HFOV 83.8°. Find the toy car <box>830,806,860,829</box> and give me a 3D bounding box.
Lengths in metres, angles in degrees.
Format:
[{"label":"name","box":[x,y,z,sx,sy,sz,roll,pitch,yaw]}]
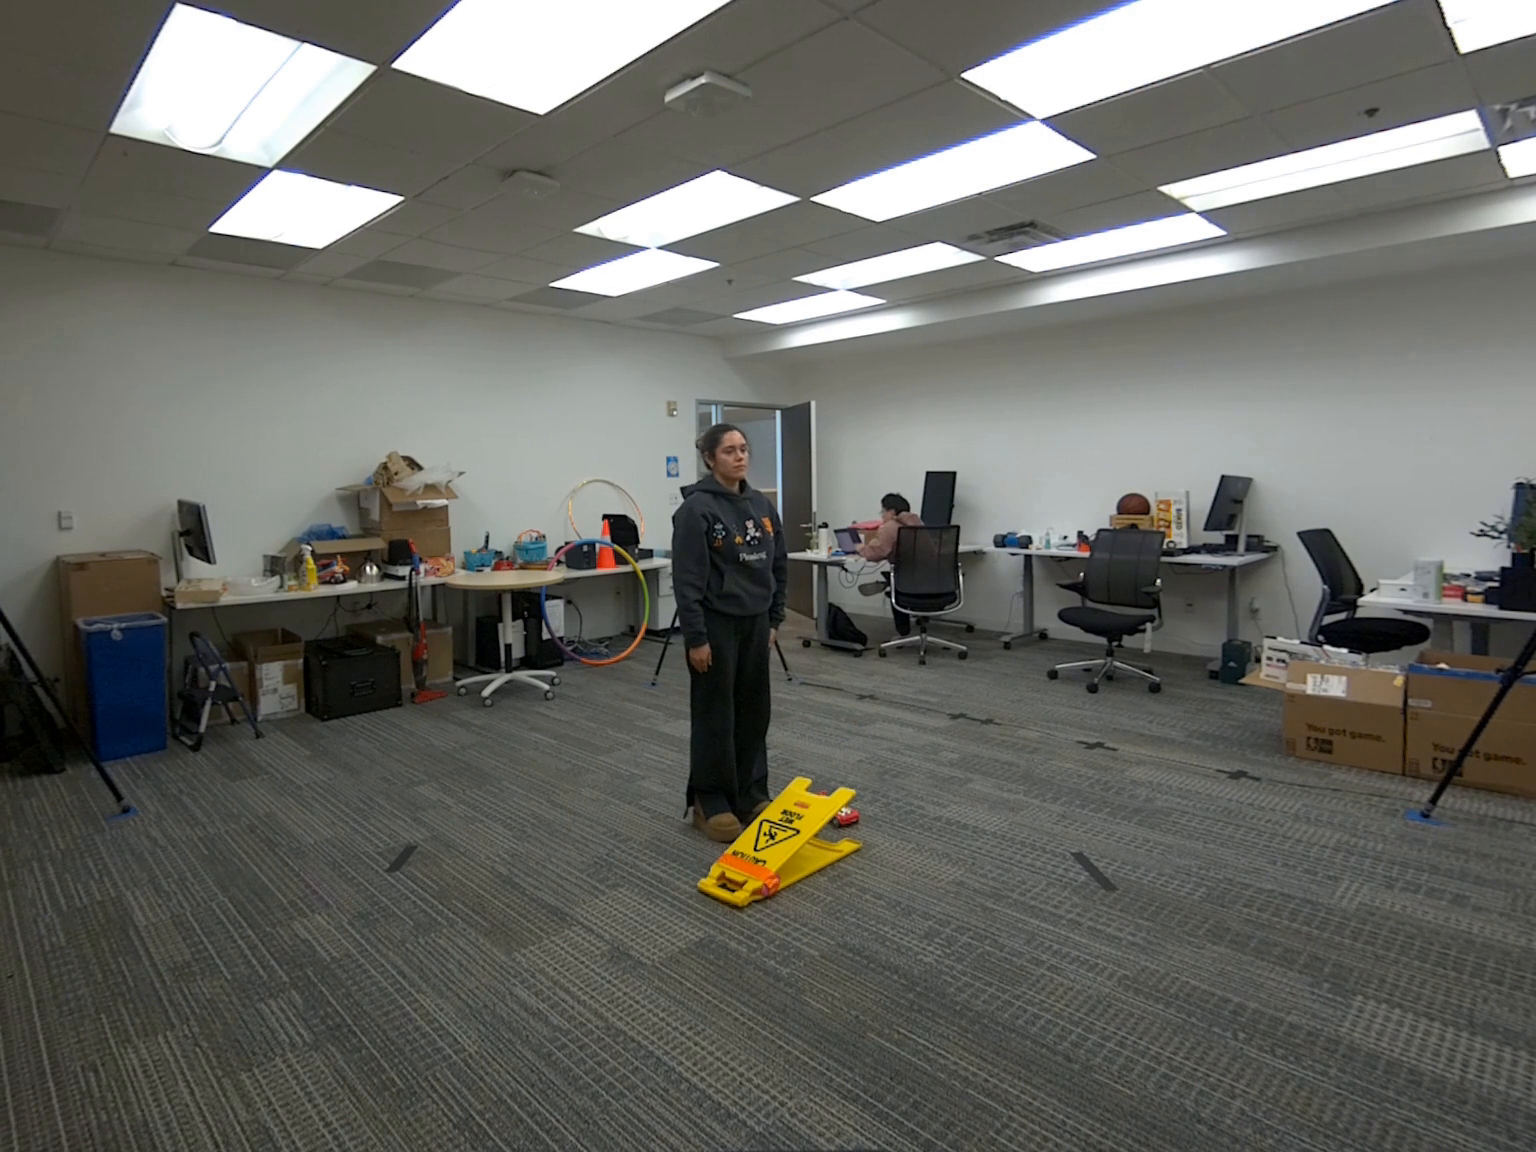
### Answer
[{"label":"toy car","box":[0.261,0.960,3.497,0.127,0.082,0.263,-3,15,-33]}]
